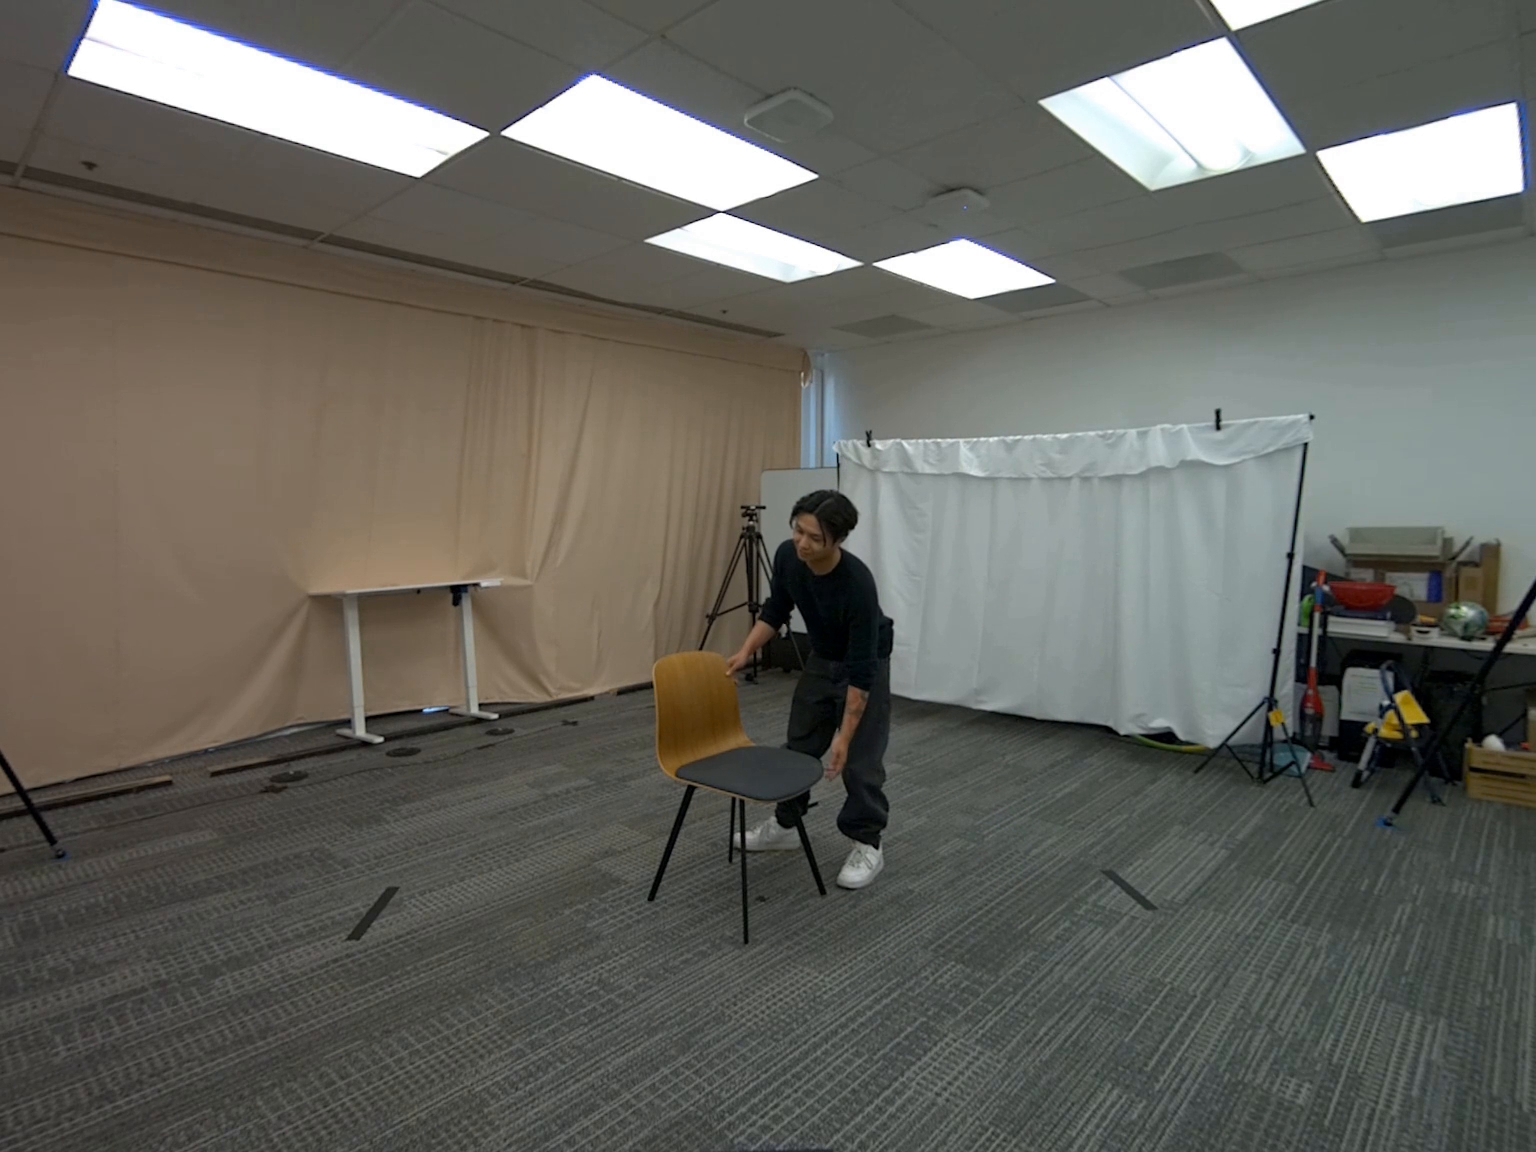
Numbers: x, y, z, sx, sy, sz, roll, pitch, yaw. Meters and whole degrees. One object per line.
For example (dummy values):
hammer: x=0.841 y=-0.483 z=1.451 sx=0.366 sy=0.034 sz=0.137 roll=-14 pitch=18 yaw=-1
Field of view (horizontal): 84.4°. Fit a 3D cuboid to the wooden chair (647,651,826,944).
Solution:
wooden chair: x=-0.100 y=0.719 z=2.953 sx=0.539 sy=0.877 sz=0.463 roll=-3 pitch=0 yaw=40
